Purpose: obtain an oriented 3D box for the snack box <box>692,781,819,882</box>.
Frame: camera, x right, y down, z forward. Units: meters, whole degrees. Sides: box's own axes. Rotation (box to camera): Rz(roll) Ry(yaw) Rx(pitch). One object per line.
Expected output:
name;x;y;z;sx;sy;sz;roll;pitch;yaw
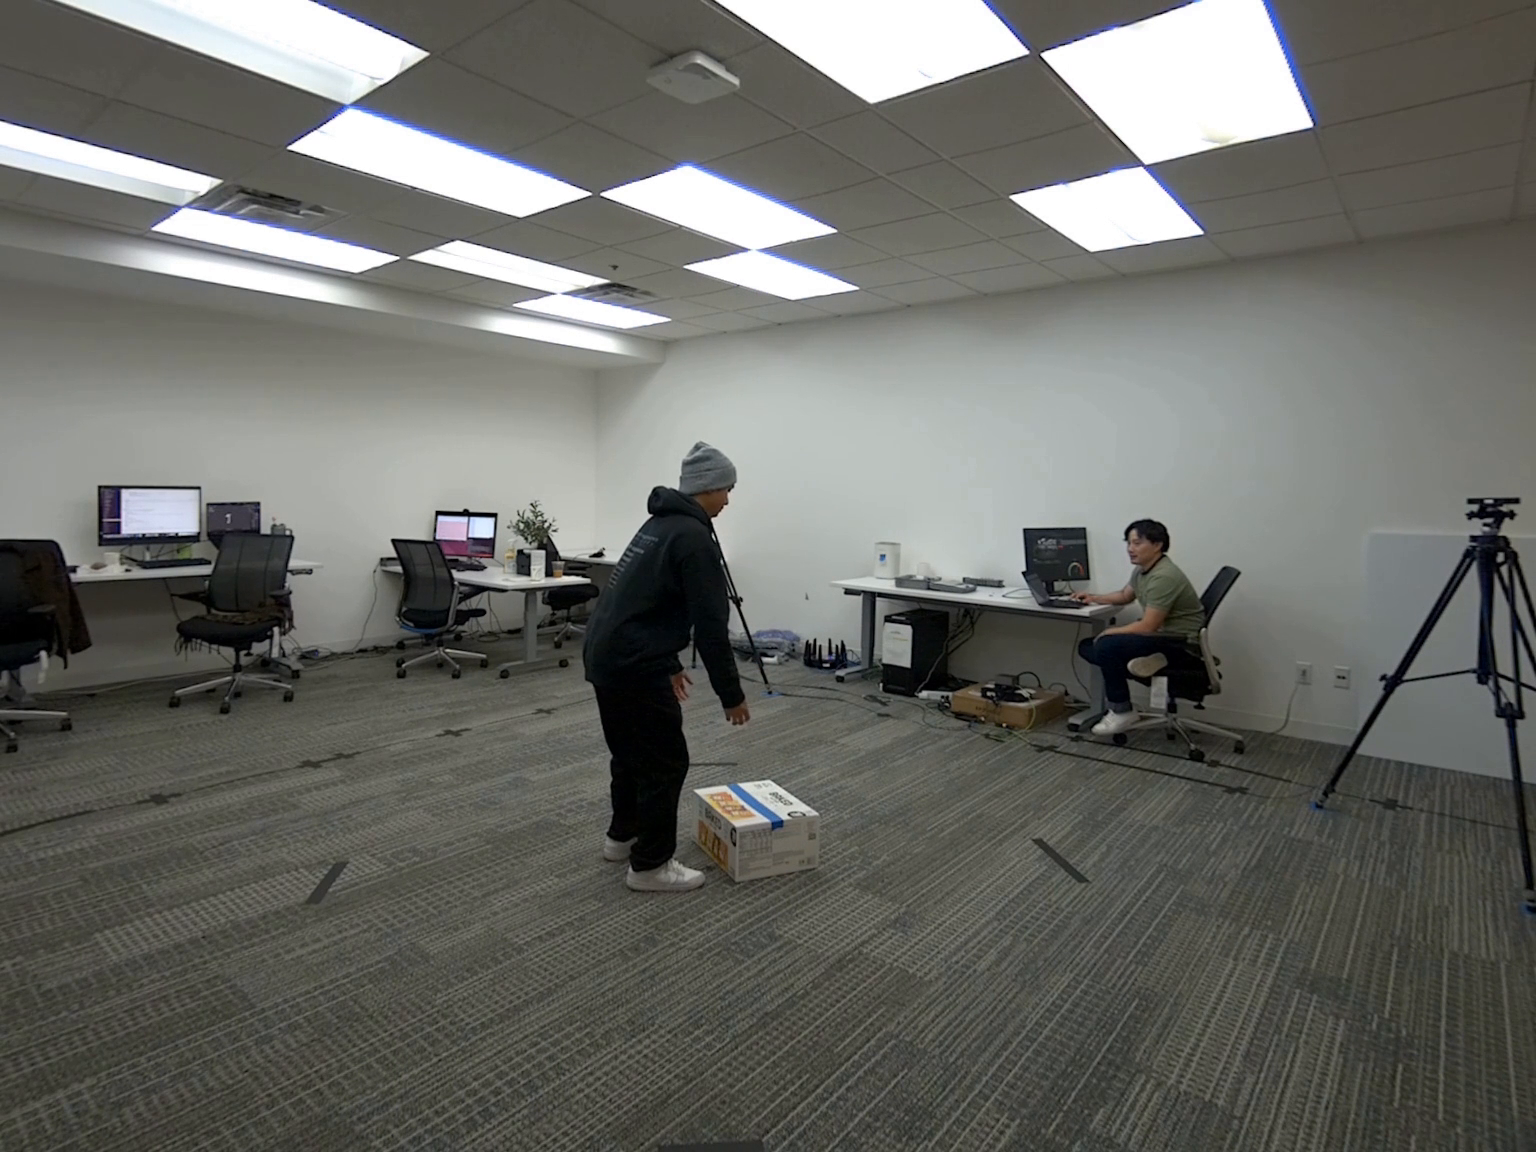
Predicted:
snack box;-0.065;0.954;3.235;0.332;0.205;0.417;-2;6;-26
